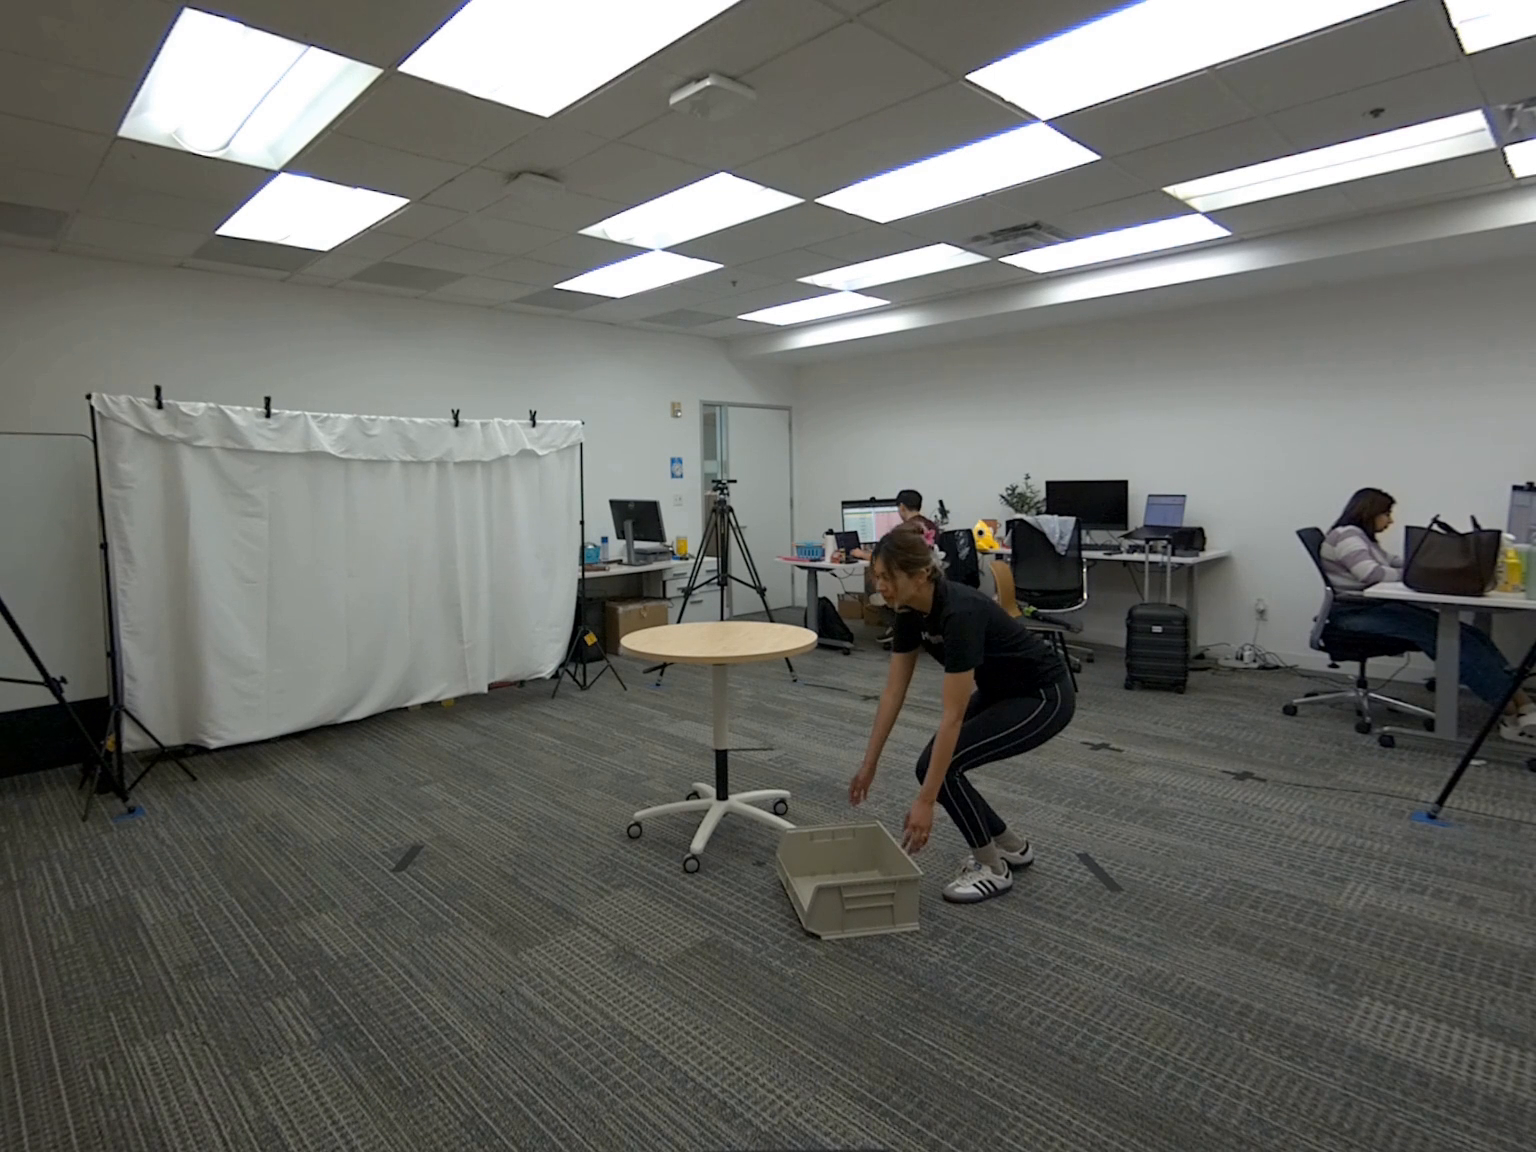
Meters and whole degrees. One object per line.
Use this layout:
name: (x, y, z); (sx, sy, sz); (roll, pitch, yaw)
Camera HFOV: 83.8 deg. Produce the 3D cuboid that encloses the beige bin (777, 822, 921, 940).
beige bin: (0.250, 1.001, 2.798); (0.374, 0.188, 0.428); (-2, 6, -11)
